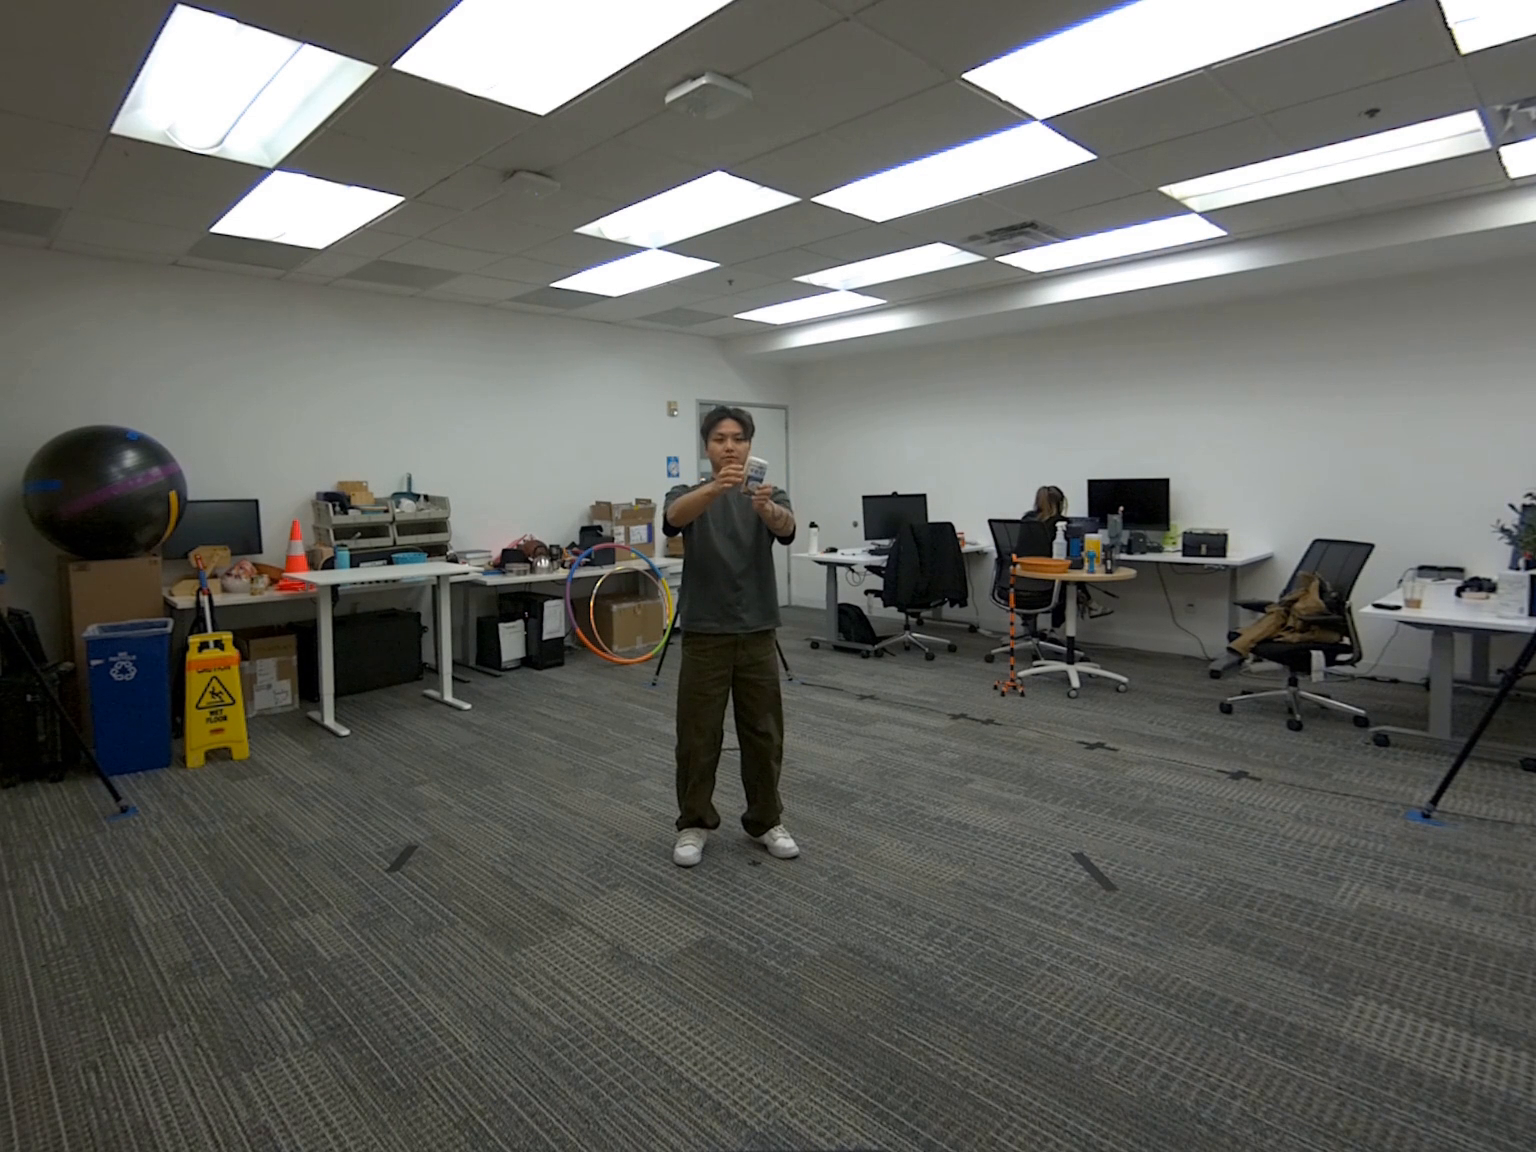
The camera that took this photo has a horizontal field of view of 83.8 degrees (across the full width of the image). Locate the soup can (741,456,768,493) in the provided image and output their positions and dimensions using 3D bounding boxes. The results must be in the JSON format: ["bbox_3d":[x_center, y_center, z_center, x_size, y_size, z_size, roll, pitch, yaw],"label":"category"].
[{"bbox_3d":[-0.056,-0.312,2.687,0.067,0.121,0.067,12,7,-3],"label":"soup can"}]
